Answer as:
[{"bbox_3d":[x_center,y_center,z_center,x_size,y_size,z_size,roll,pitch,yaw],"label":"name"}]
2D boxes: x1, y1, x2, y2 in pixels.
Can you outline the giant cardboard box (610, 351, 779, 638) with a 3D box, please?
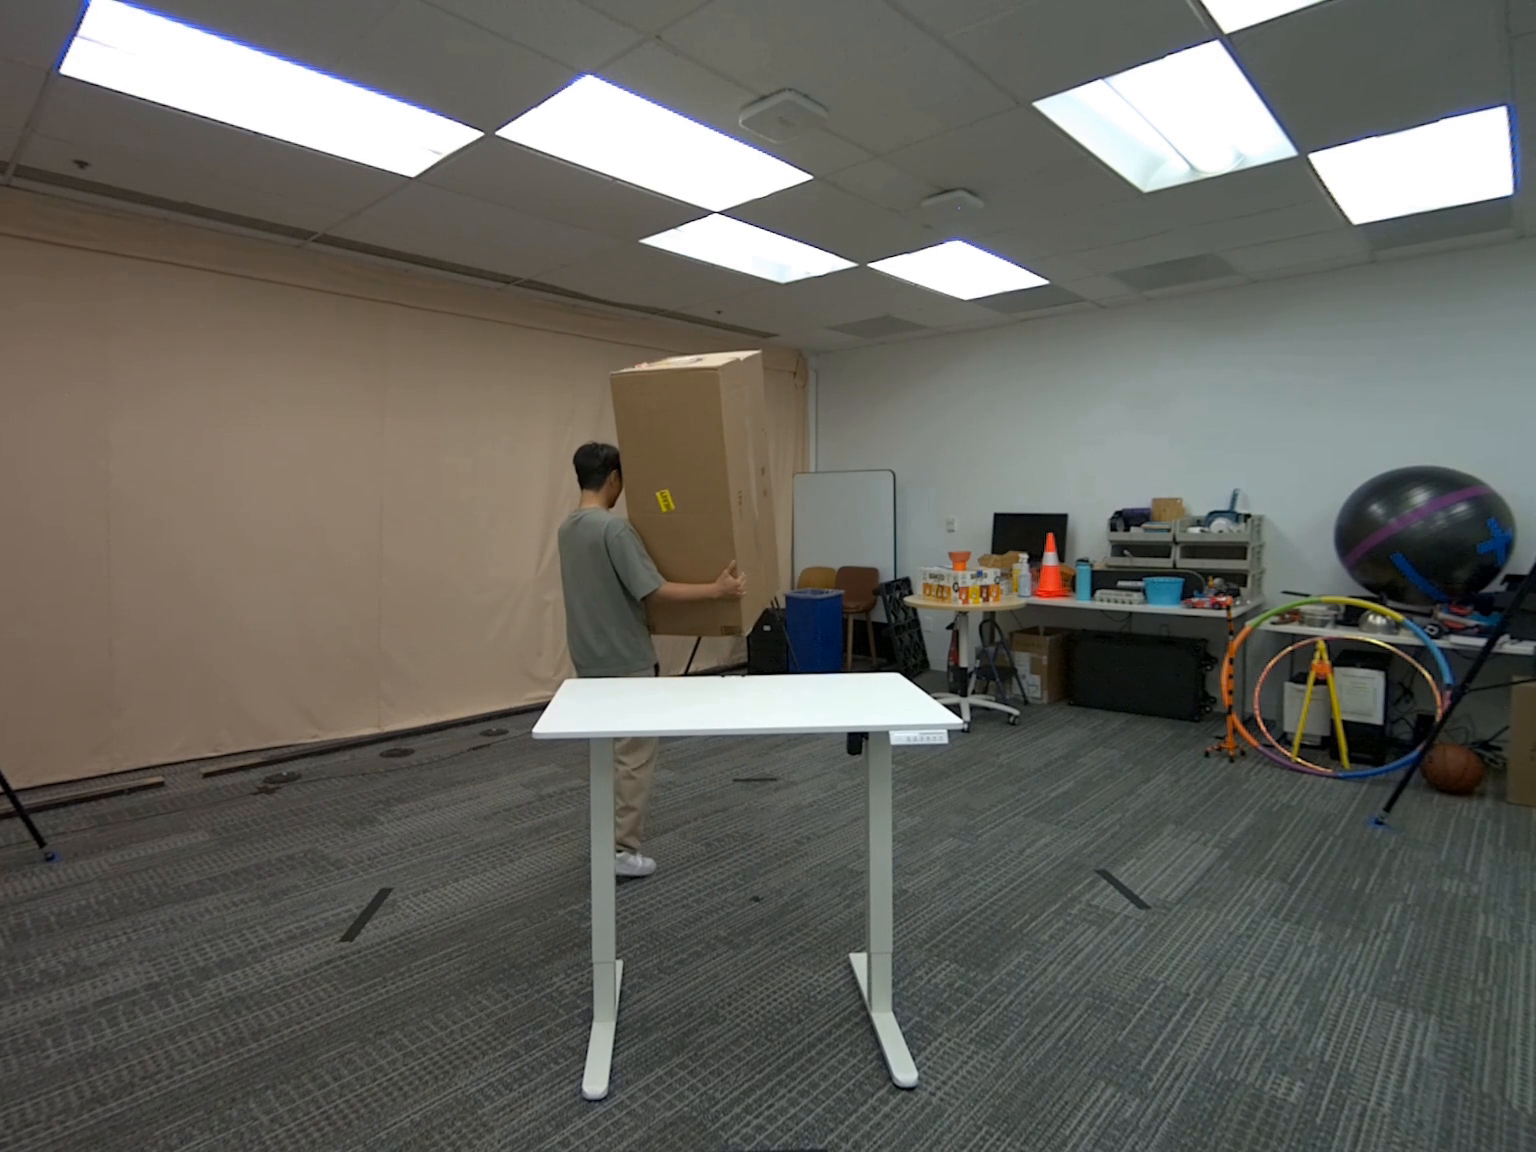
[{"bbox_3d":[-0.256,-0.336,3.366,0.434,1.013,0.574,0,18,17],"label":"giant cardboard box"}]
